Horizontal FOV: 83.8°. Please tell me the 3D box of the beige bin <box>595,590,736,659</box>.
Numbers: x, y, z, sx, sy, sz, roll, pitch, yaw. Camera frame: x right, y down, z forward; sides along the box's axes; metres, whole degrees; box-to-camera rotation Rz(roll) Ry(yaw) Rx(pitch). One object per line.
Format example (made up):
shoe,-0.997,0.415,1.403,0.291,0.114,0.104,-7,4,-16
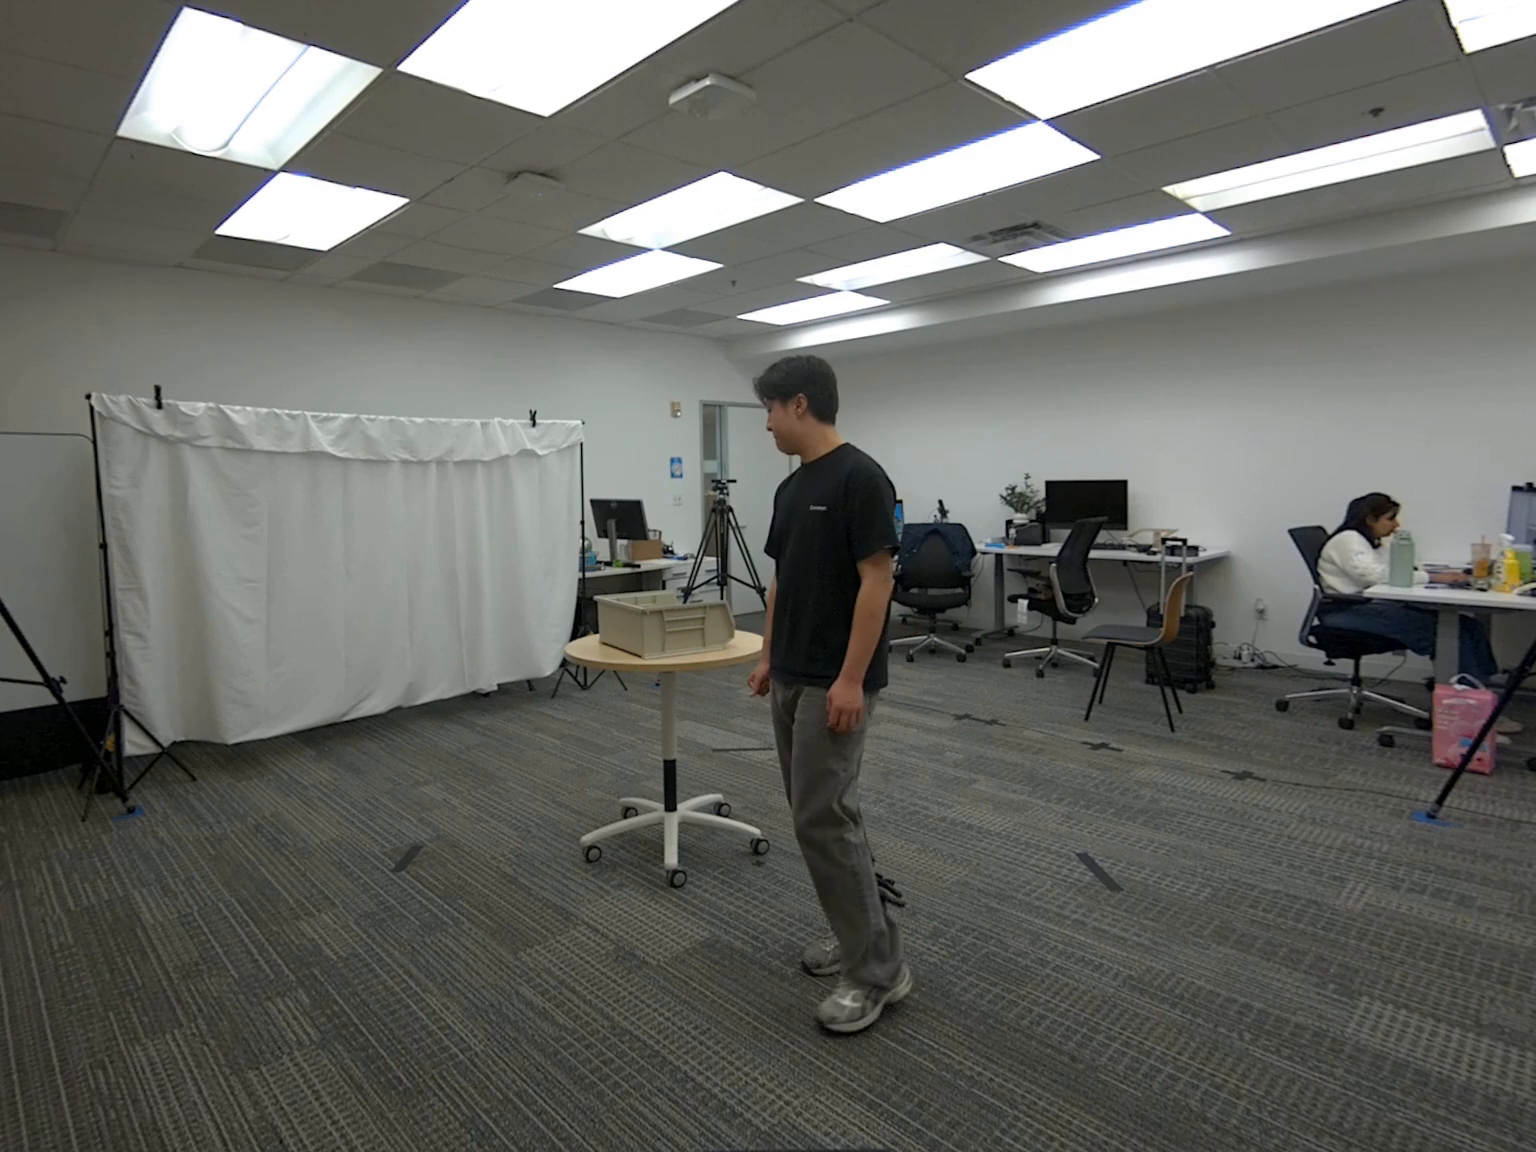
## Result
beige bin,-0.390,0.173,3.183,0.368,0.188,0.435,-6,8,-33
